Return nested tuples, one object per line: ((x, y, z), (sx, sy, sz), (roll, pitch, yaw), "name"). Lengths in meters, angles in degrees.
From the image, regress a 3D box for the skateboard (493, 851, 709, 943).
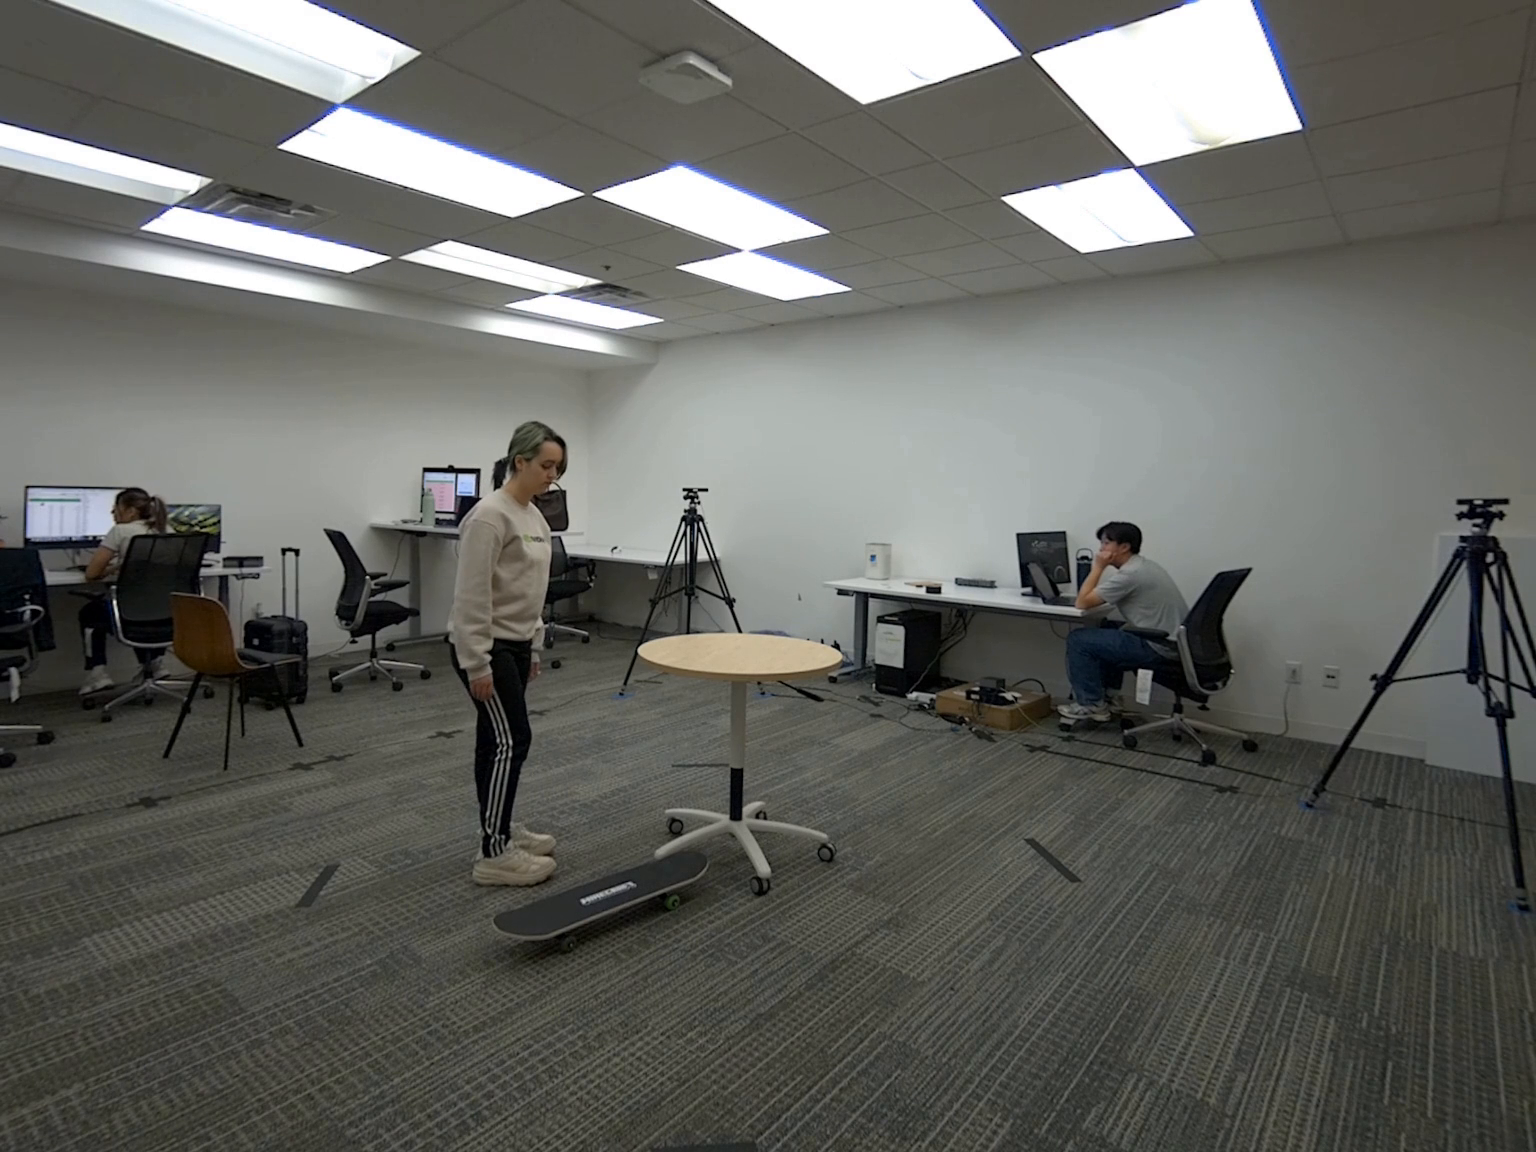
((-0.517, 1.045, 2.731), (0.762, 0.110, 0.200), (-5, 7, -43), "skateboard")
